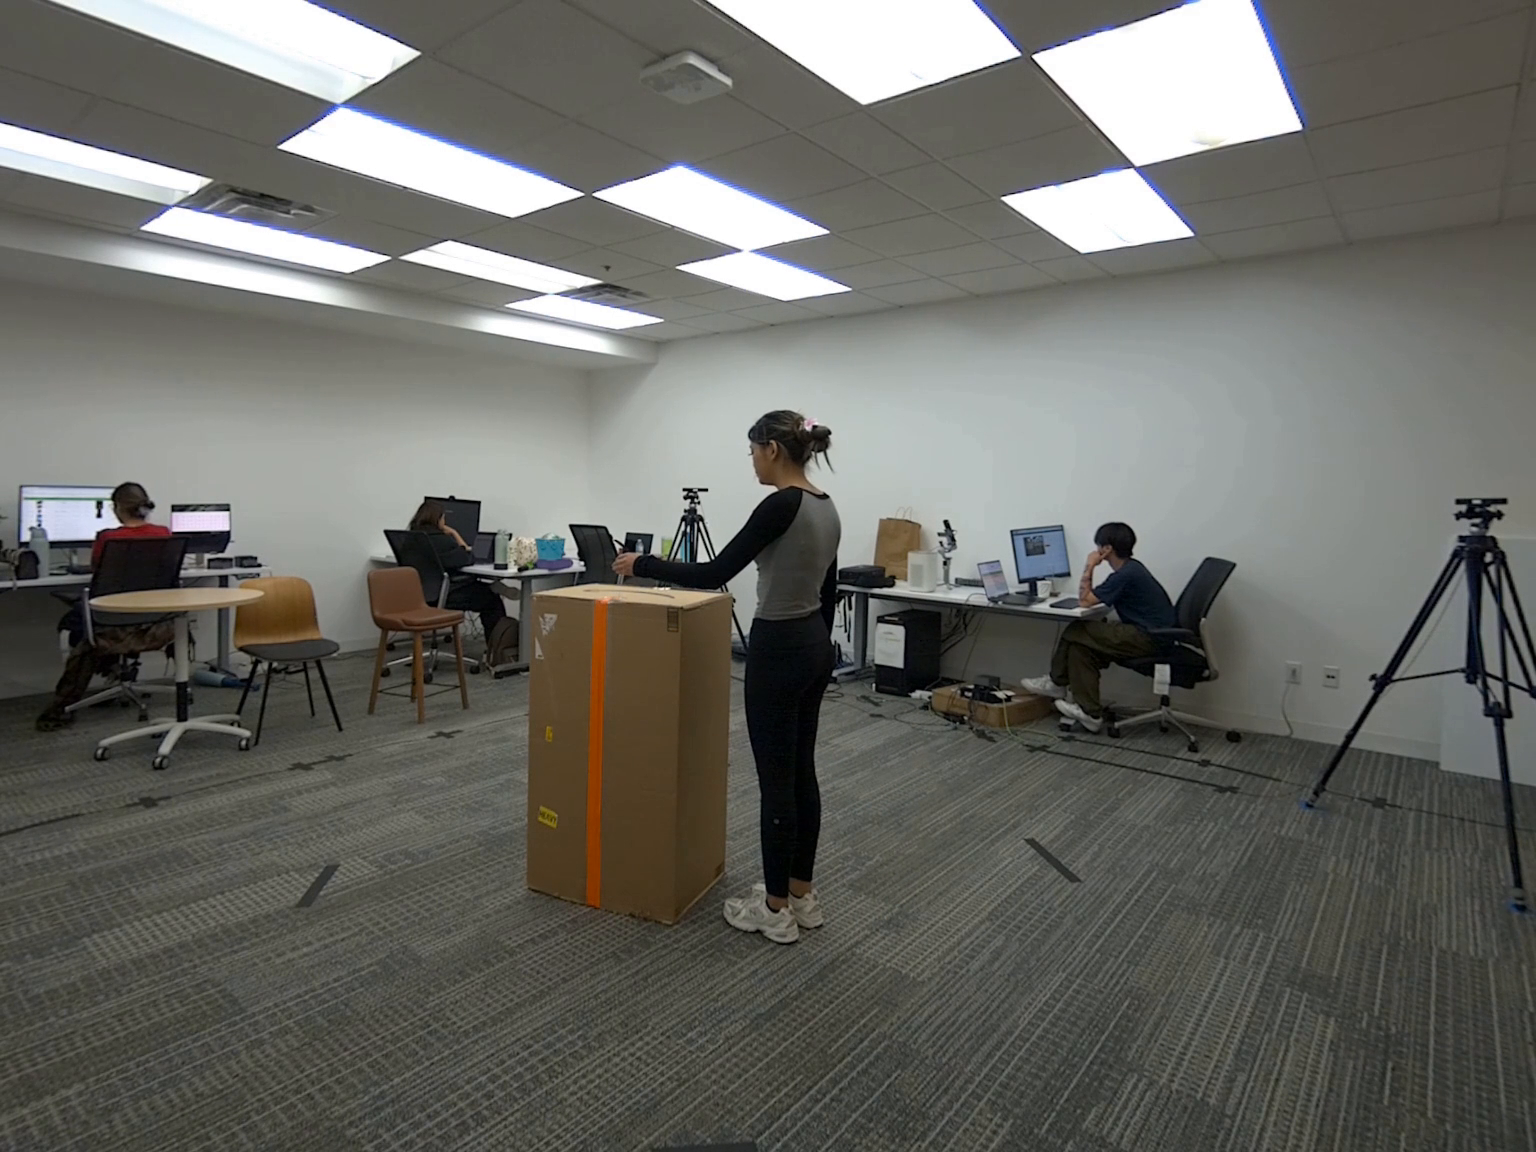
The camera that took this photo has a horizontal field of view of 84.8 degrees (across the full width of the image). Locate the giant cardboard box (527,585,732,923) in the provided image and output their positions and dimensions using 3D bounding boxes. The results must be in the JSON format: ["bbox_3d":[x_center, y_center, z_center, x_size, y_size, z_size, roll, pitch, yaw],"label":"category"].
[{"bbox_3d":[-0.492,0.570,2.979,0.598,1.025,0.437,3,2,22],"label":"giant cardboard box"}]
